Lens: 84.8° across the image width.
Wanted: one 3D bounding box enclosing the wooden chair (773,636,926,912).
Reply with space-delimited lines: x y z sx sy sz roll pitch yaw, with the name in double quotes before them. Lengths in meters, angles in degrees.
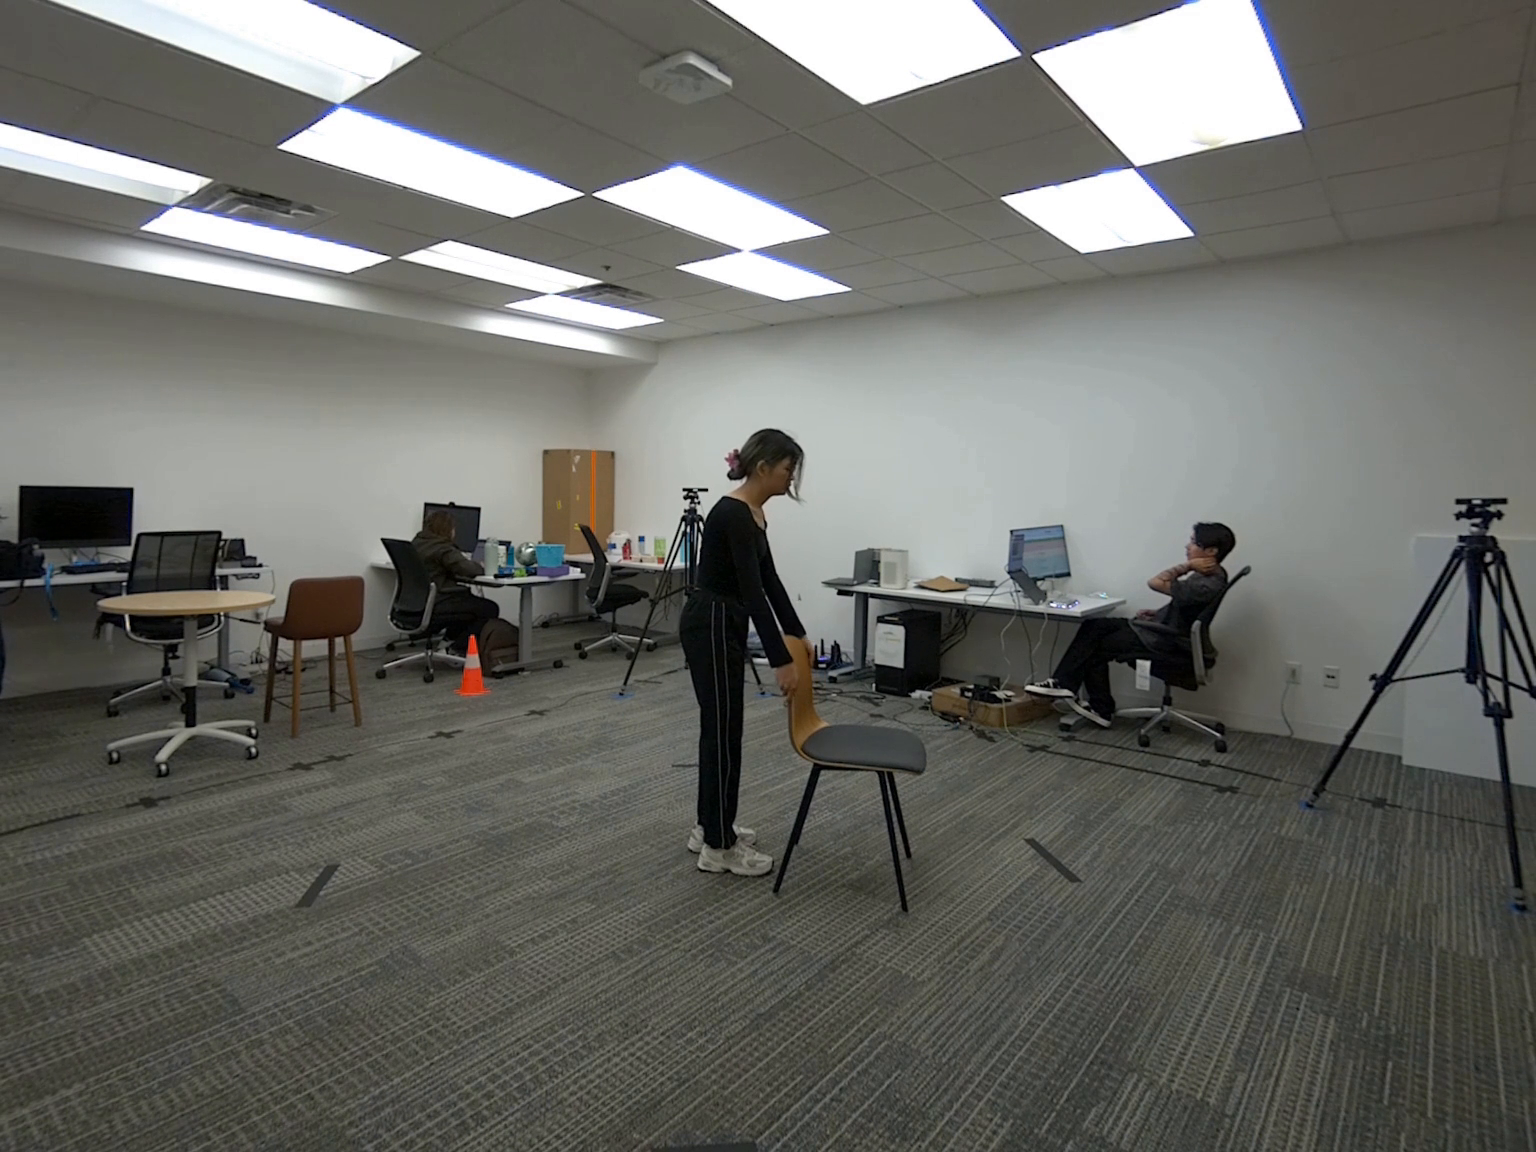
"wooden chair" 0.289 0.656 3.069 0.531 0.876 0.472 -3 2 13
